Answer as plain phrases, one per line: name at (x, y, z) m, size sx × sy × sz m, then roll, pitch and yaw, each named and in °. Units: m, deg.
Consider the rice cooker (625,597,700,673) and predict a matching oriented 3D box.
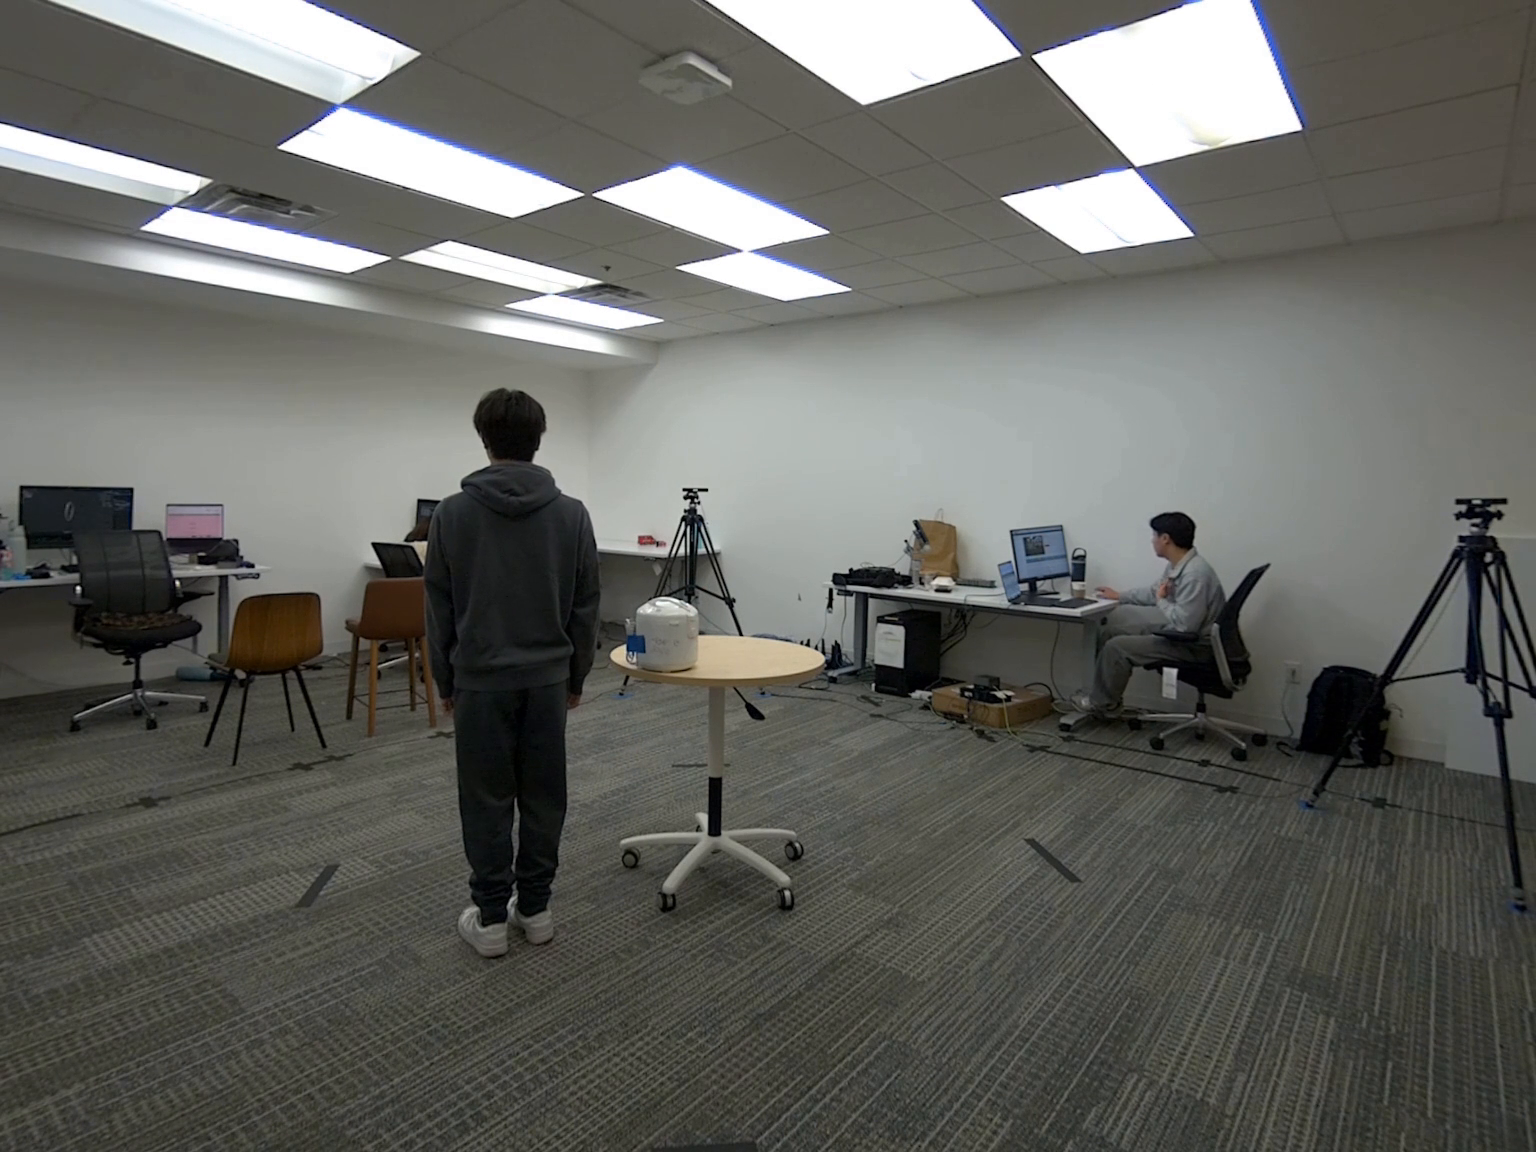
rice cooker at (-0.343, 0.184, 2.823) m, size 0.227 × 0.231 × 0.212 m, roll 4°, pitch 7°, yaw 34°
